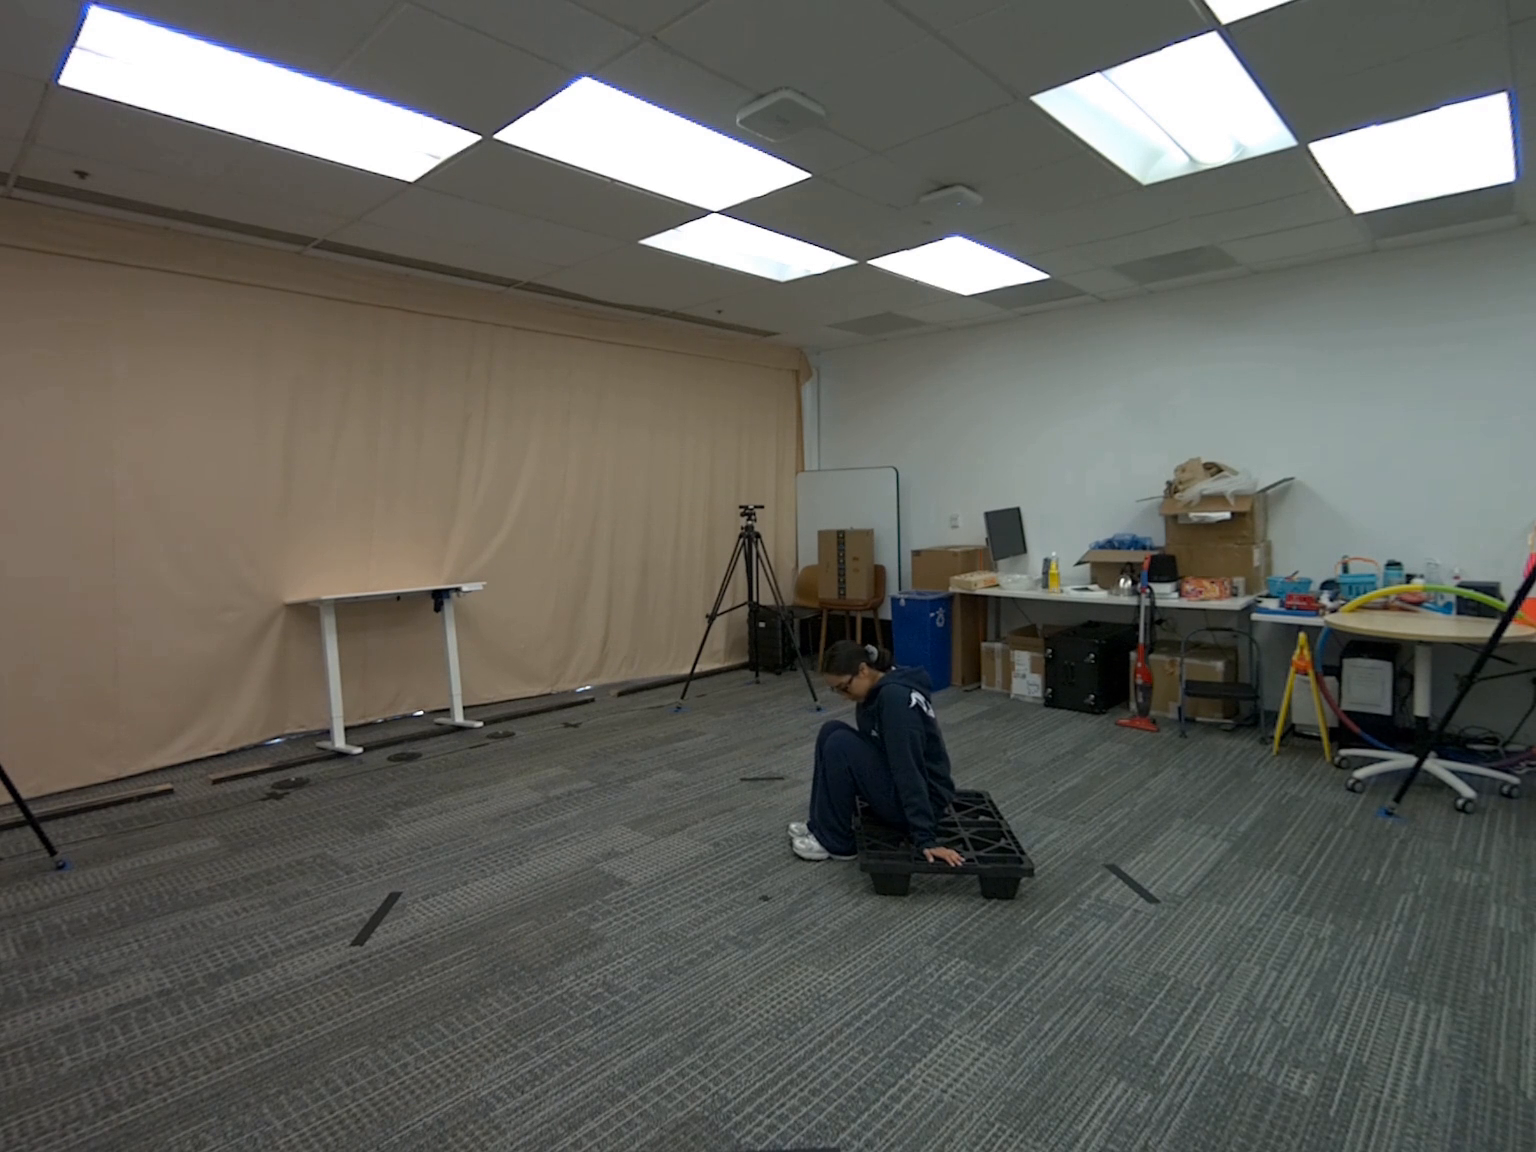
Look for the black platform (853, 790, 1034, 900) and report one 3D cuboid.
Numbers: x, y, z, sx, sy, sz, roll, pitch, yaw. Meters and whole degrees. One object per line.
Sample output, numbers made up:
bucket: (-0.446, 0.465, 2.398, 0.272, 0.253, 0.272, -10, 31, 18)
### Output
black platform: (0.651, 1.033, 3.313, 0.609, 0.143, 0.803, 0, 5, 4)
